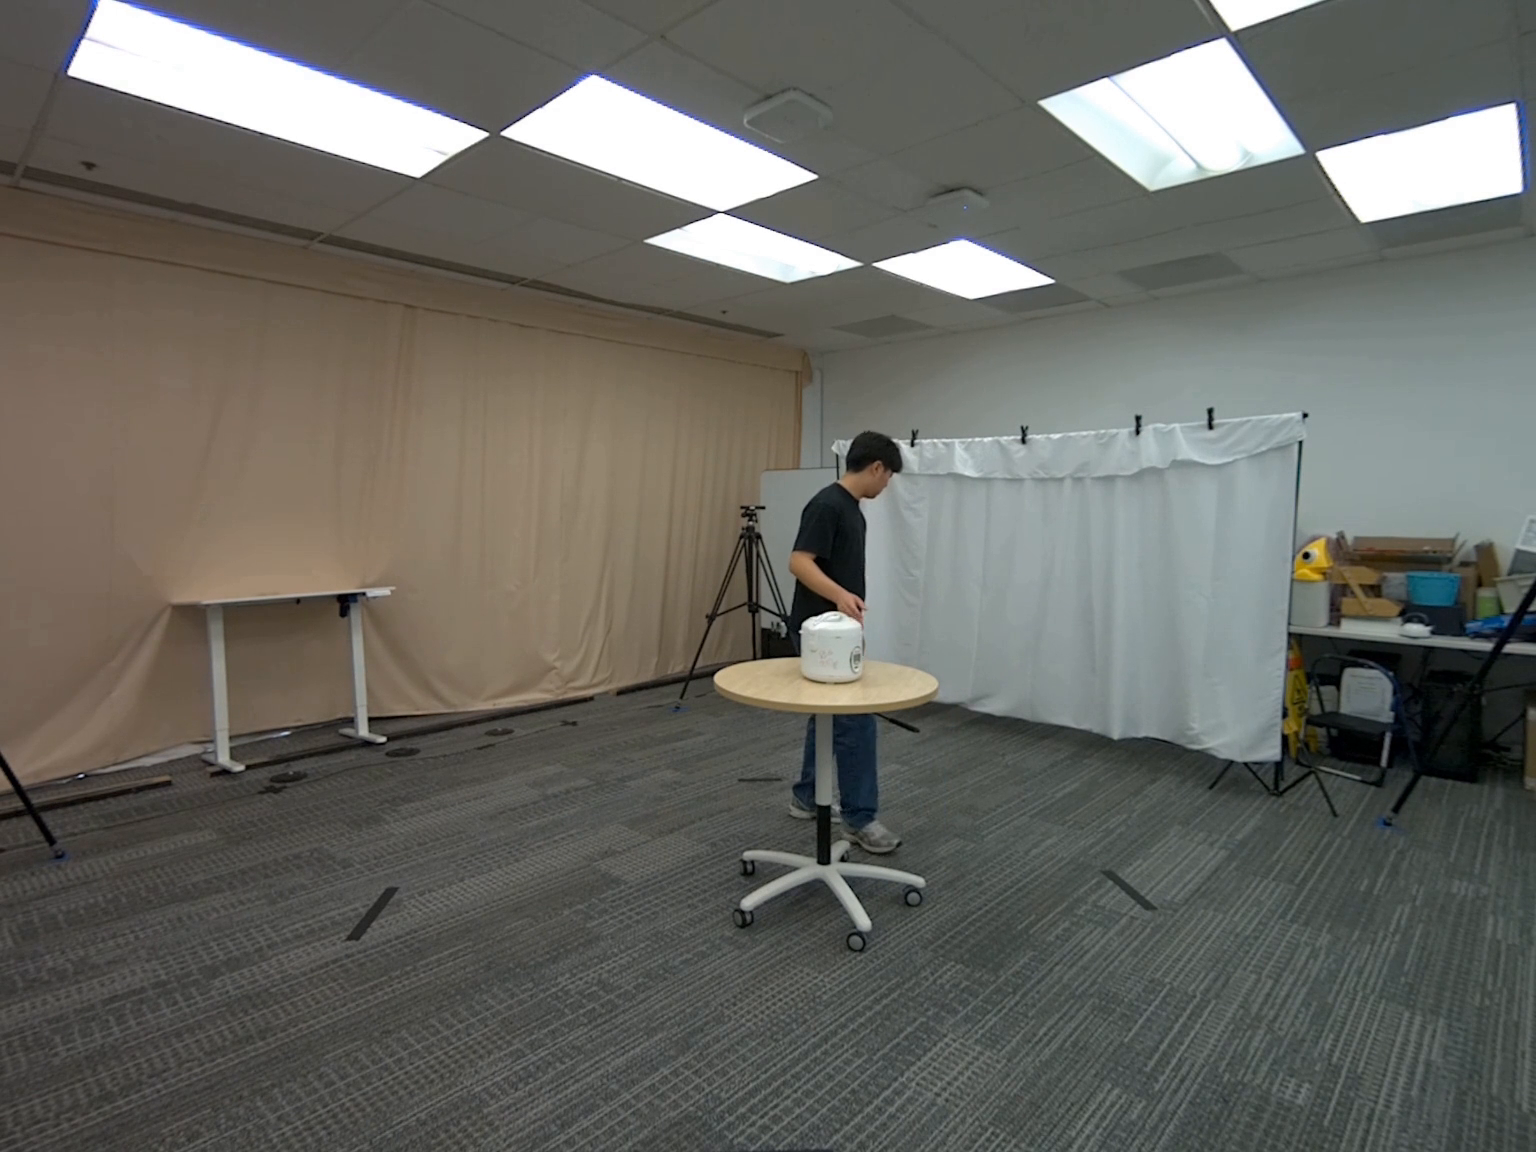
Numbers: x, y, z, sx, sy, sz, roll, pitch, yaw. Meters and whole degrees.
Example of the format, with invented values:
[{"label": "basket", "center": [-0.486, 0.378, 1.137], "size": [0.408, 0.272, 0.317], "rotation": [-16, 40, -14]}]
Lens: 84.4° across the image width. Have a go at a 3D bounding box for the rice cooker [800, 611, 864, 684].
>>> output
[{"label": "rice cooker", "center": [0.218, 0.237, 2.901], "size": [0.225, 0.232, 0.214], "rotation": [3, 6, 45]}]
